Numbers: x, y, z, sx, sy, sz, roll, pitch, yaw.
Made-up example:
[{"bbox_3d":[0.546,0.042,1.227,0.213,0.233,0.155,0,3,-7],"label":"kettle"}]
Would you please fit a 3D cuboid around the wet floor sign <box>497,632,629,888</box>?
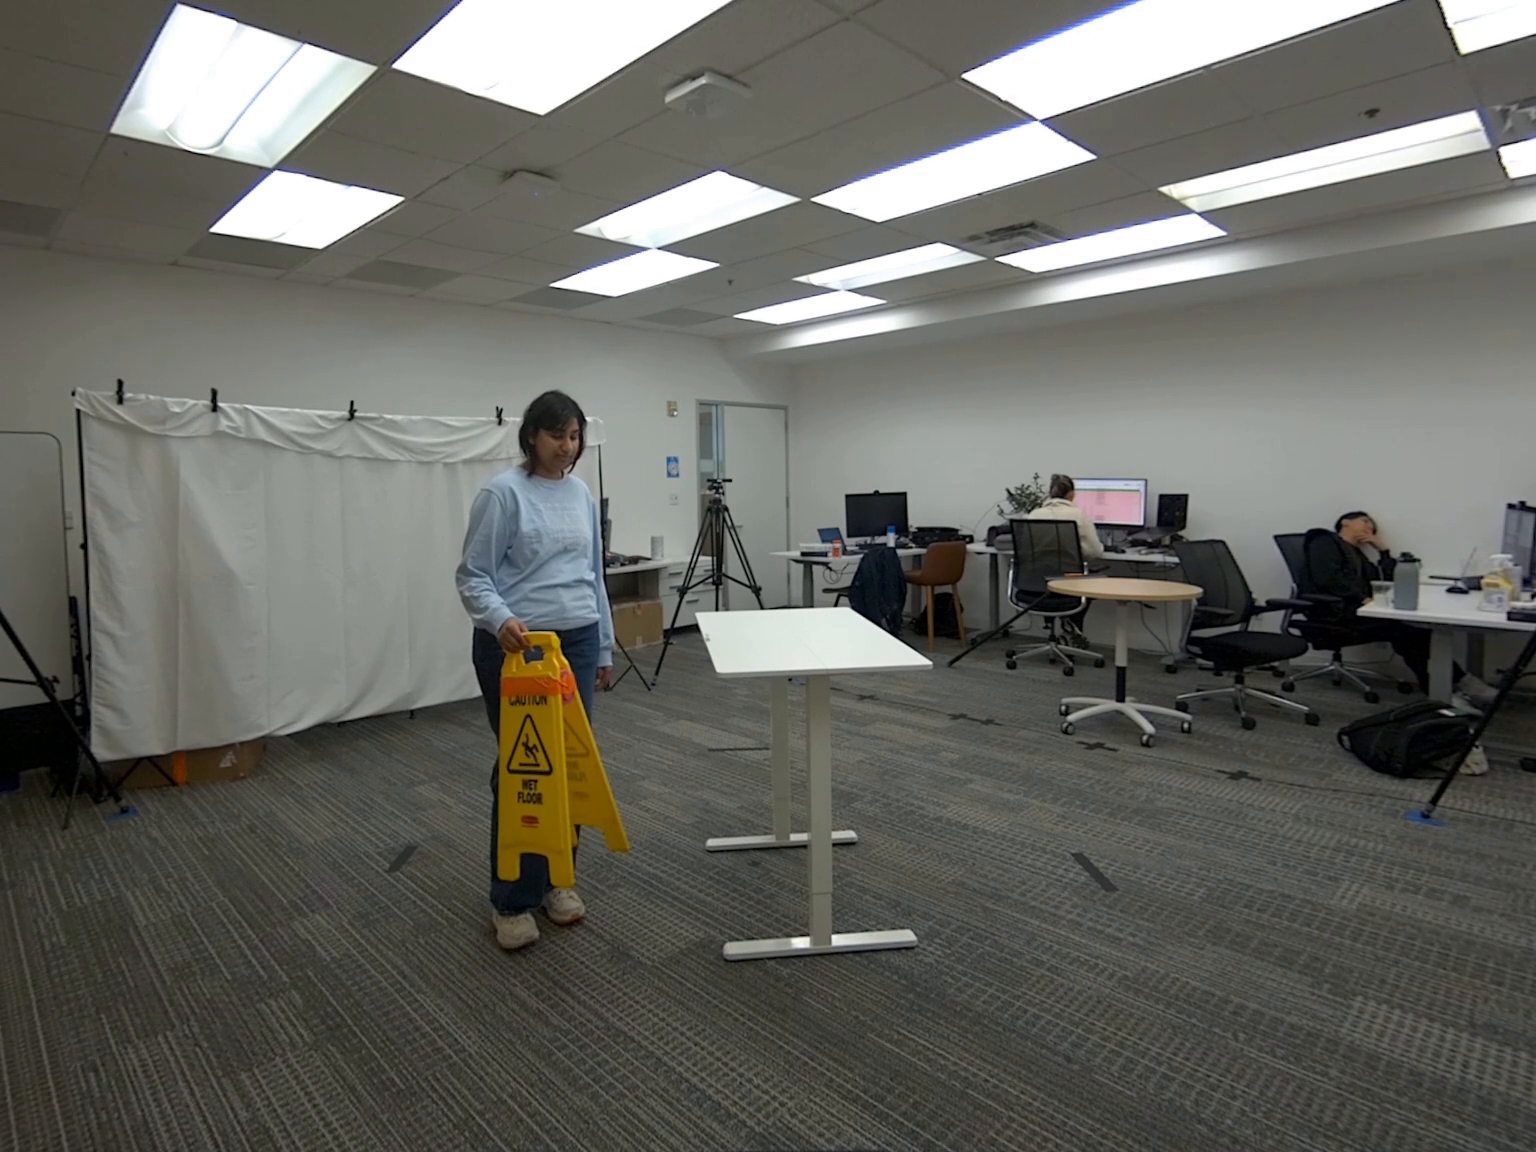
[{"bbox_3d":[-0.605,0.485,2.374,0.288,0.646,0.283,-10,0,34],"label":"wet floor sign"}]
